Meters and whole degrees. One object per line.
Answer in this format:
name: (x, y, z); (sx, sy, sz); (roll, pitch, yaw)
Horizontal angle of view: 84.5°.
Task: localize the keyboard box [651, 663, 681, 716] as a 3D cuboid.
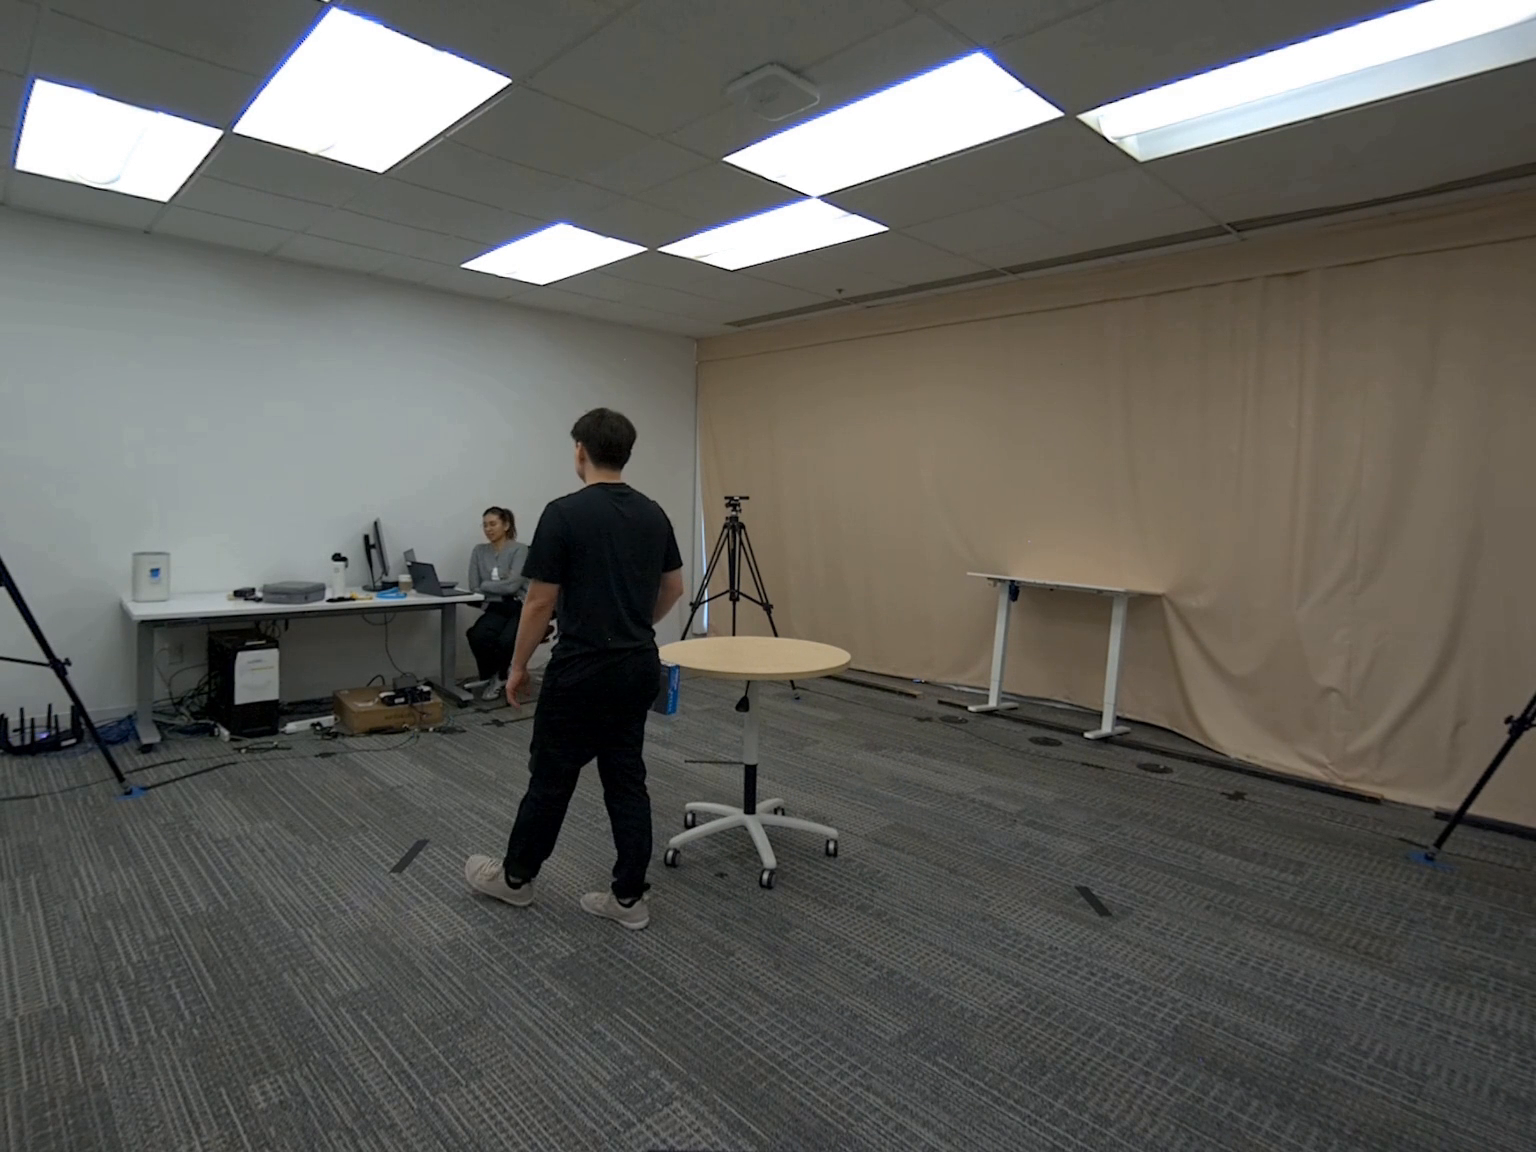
keyboard box: (-0.514, 0.371, 3.048); (0.448, 0.175, 0.058); (10, 5, 32)
